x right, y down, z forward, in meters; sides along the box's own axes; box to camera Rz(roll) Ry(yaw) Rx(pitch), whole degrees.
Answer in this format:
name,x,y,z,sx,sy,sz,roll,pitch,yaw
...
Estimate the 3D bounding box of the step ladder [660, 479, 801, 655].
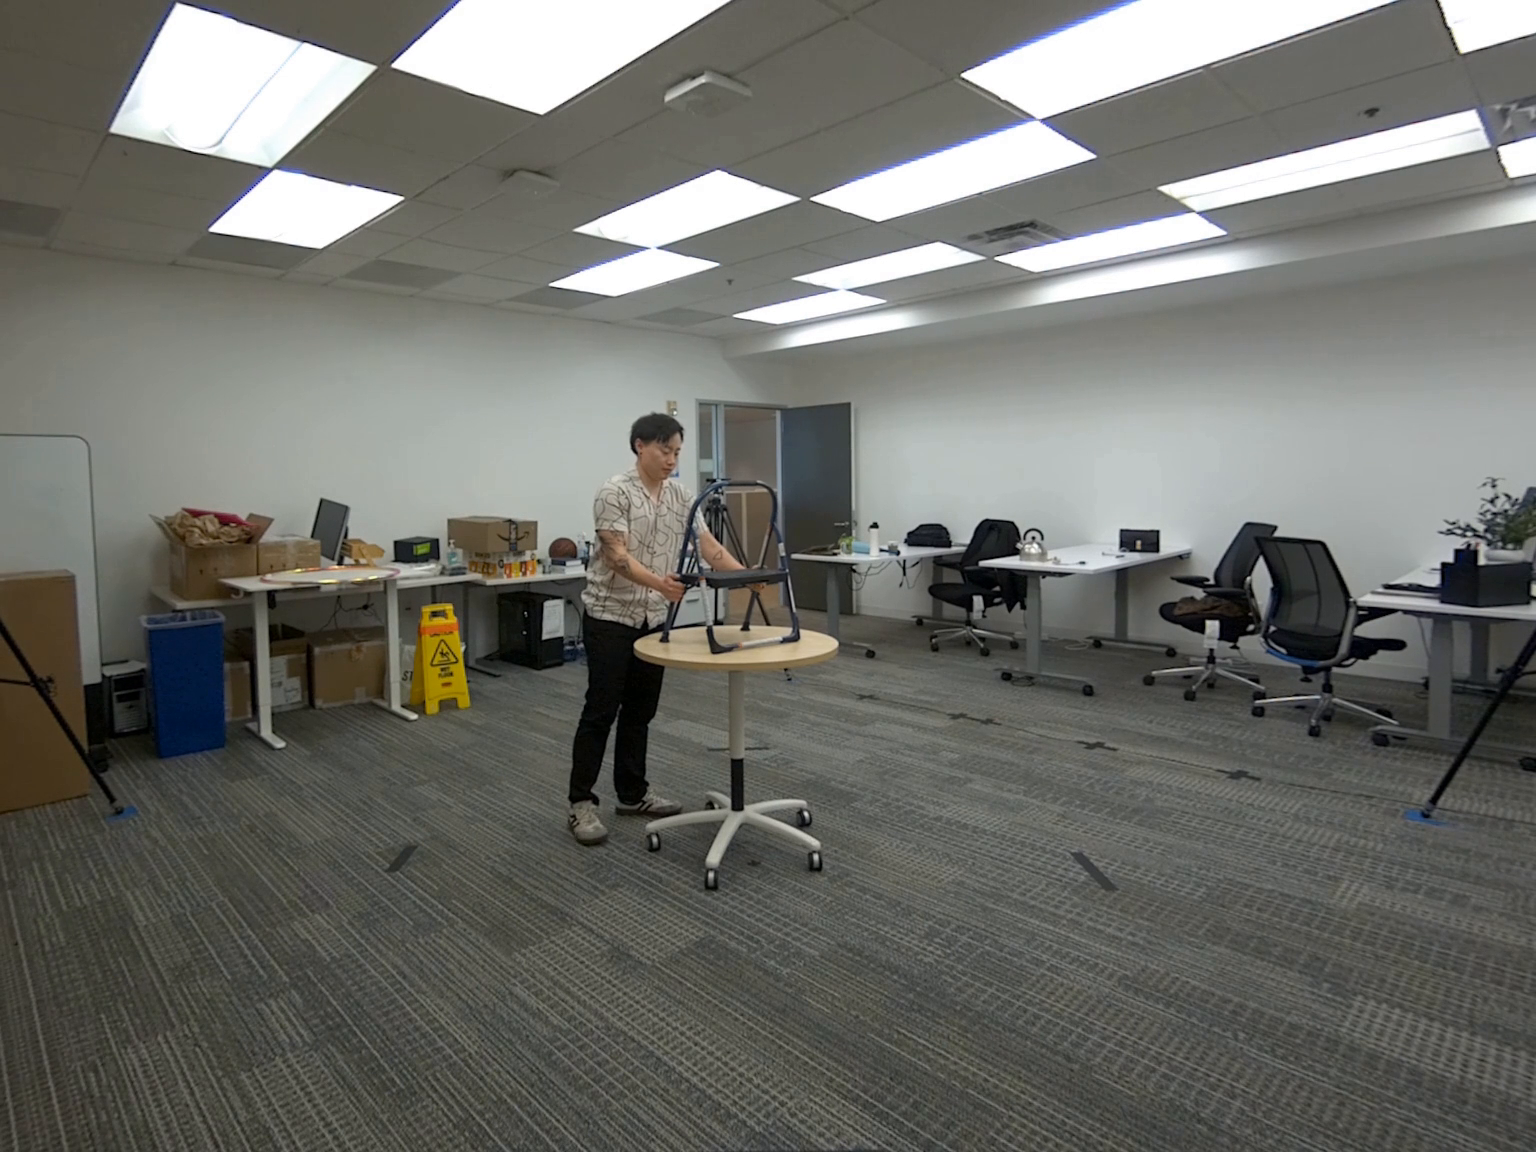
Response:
name,x,y,z,sx,sy,sz,roll,pitch,yaw
step ladder,-0.143,-0.057,3.215,0.419,0.604,0.360,-4,5,-40
